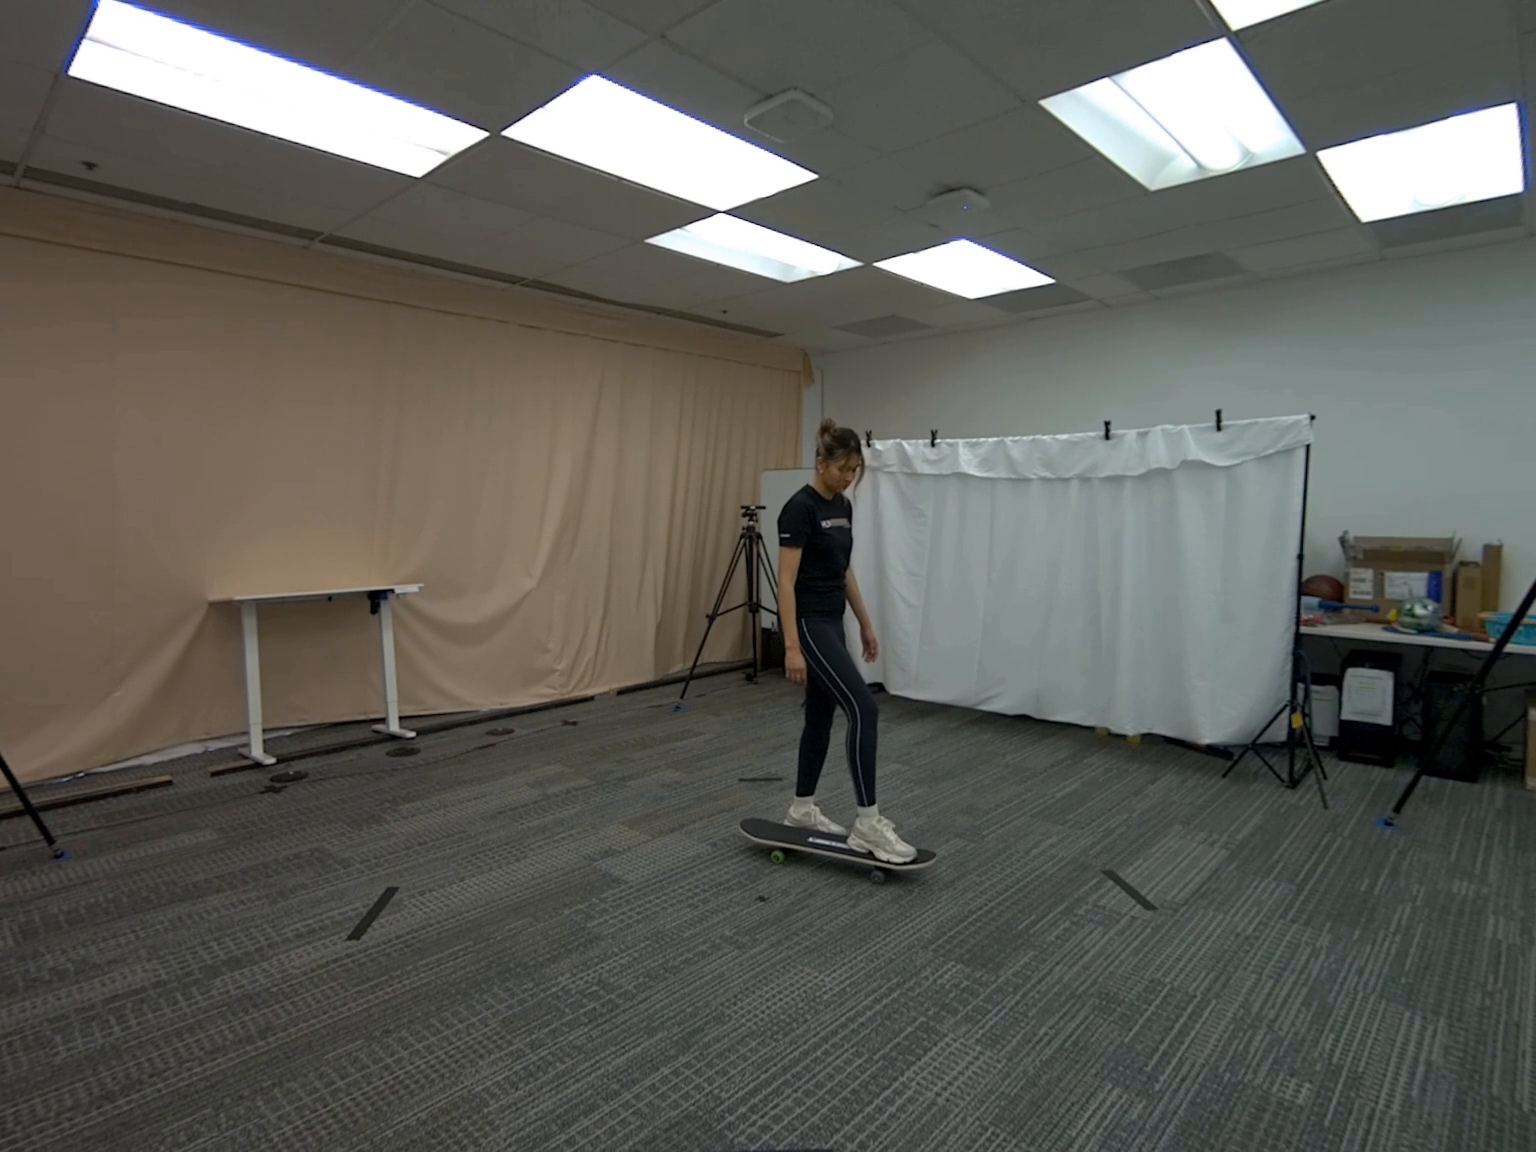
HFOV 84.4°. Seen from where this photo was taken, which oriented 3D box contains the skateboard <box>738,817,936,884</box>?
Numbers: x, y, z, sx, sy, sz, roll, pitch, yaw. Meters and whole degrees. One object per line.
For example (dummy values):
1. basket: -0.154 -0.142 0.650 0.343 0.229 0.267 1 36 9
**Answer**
1. skateboard: 0.249 1.065 3.252 0.806 0.110 0.189 3 4 26
